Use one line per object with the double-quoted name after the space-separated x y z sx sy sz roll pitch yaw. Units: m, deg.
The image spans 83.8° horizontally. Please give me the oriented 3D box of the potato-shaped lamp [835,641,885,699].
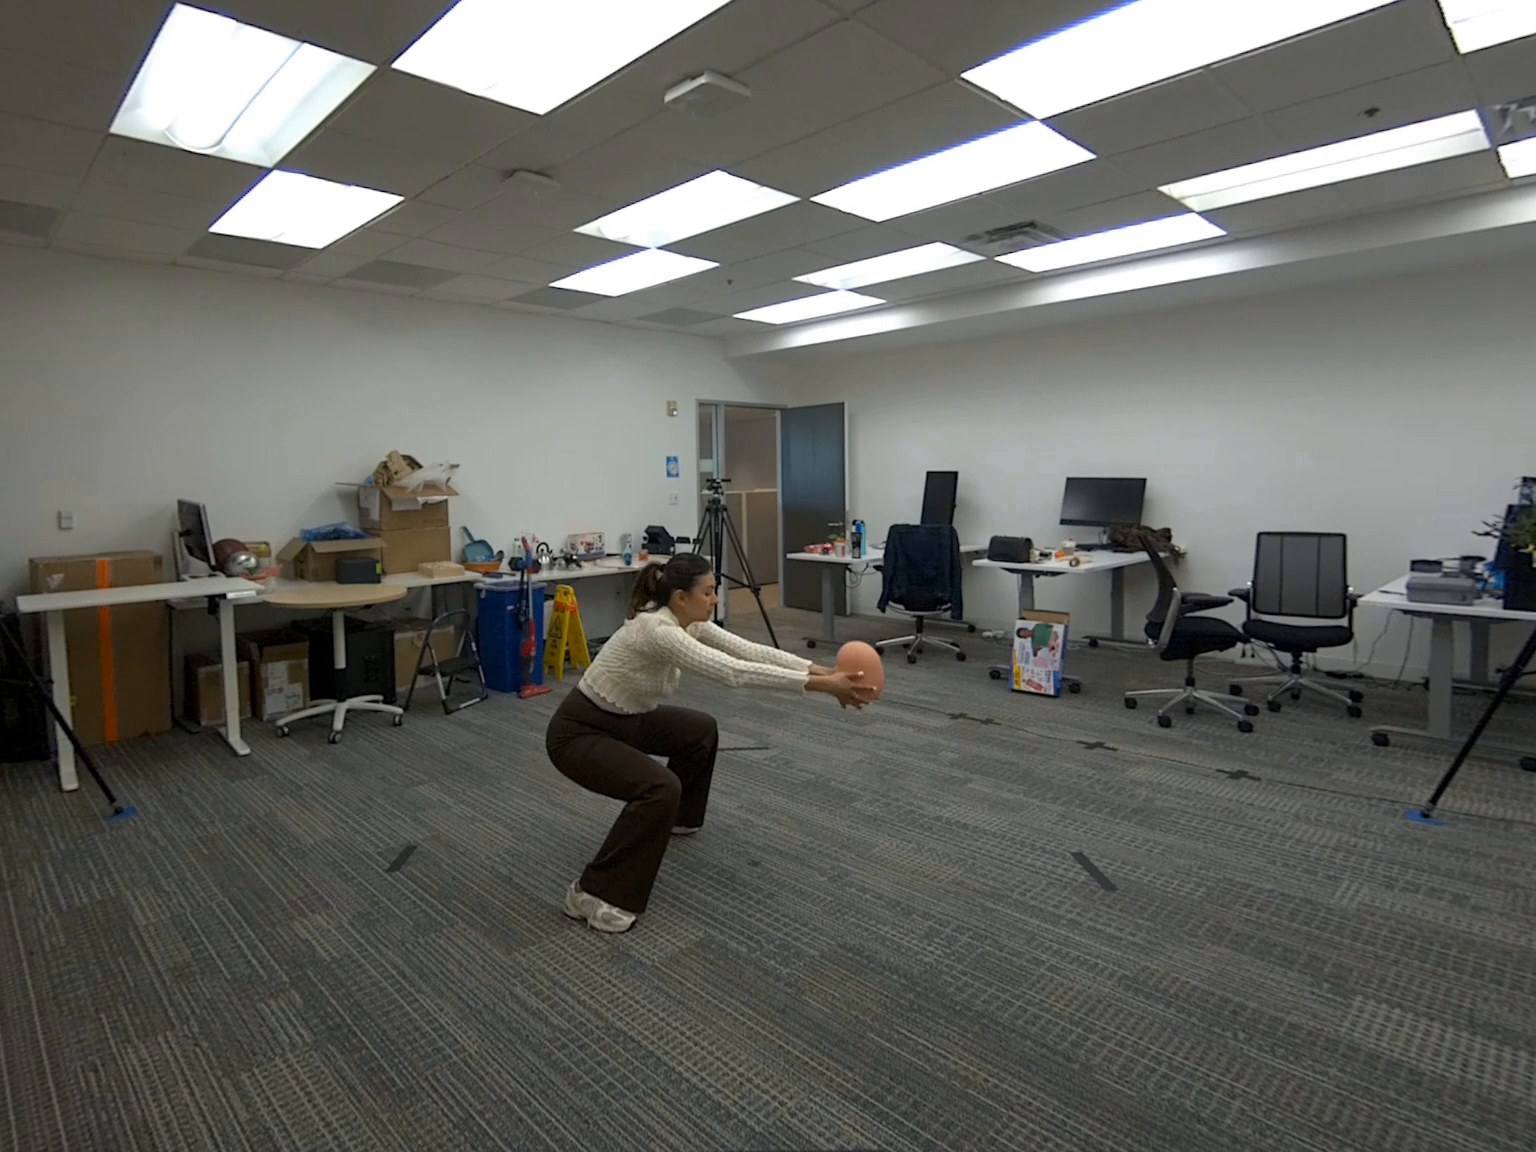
0.289 0.335 2.860 0.173 0.197 0.163 -11 5 16 "potato-shaped lamp"
